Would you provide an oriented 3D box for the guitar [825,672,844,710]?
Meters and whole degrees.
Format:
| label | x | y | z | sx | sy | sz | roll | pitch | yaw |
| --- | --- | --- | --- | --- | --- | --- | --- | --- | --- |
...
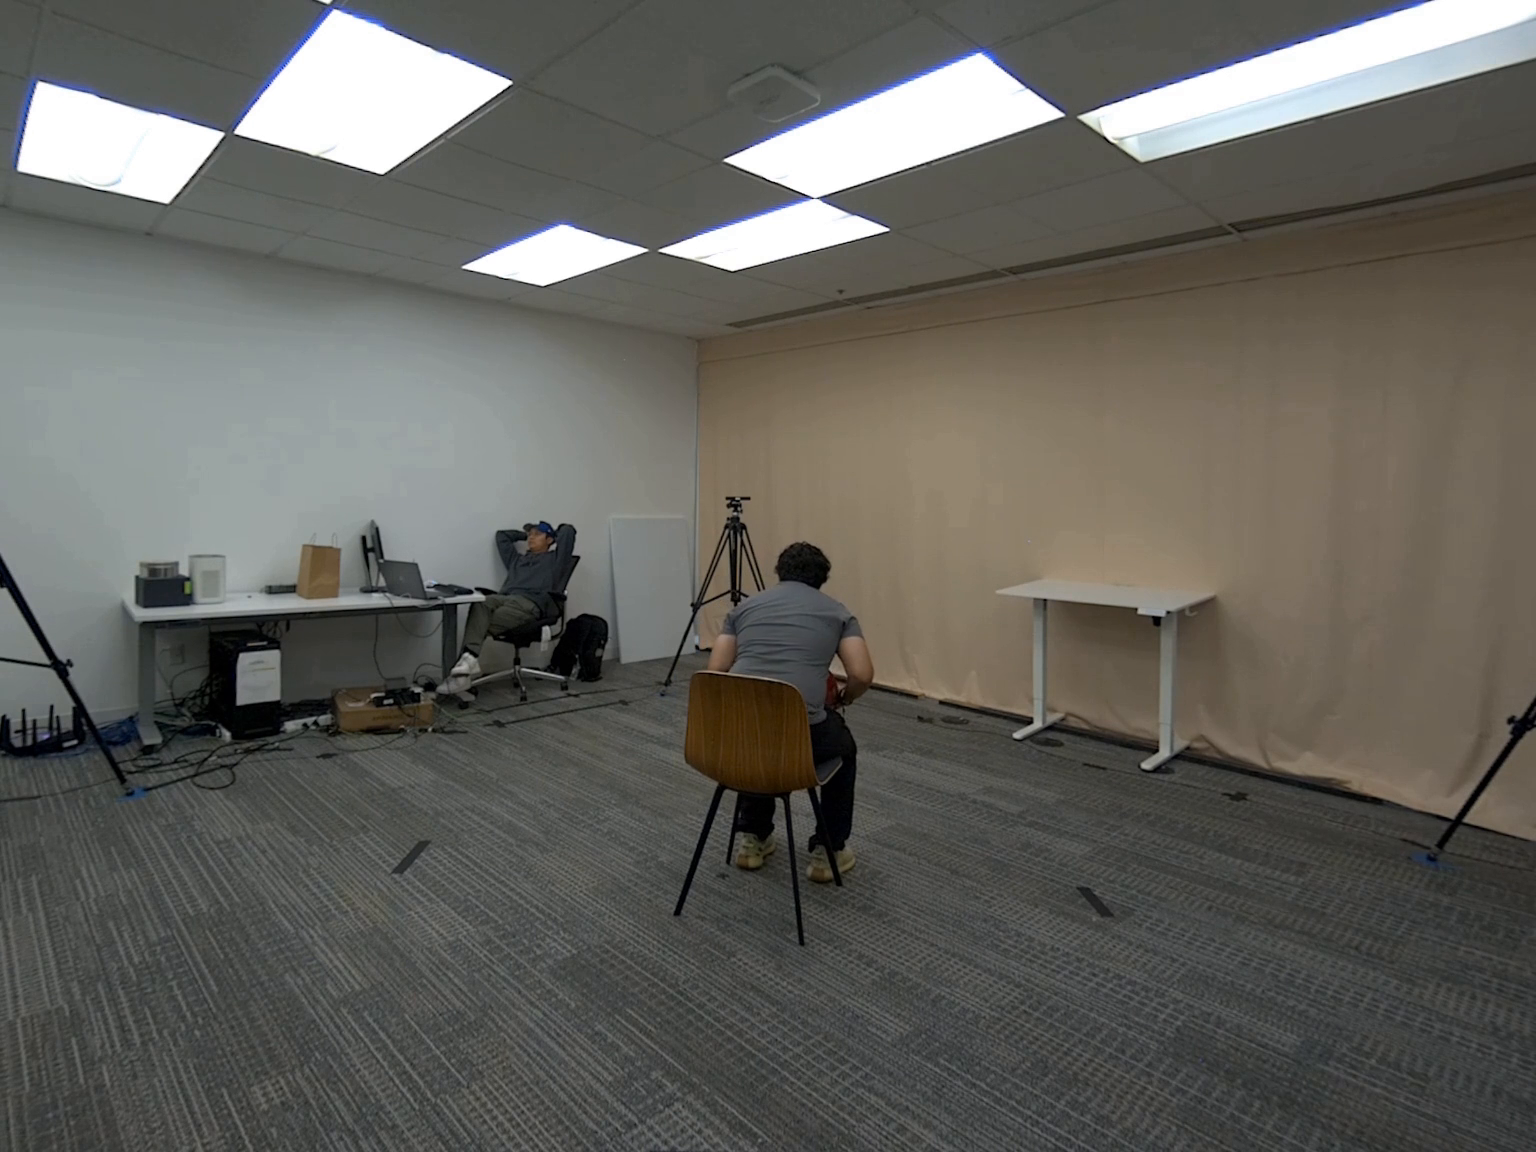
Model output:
| label | x | y | z | sx | sy | sz | roll | pitch | yaw |
| --- | --- | --- | --- | --- | --- | --- | --- | --- | --- |
| guitar | 0.072 | 0.362 | 3.328 | 0.070 | 0.188 | 0.513 | -39 | 39 | -27 |
